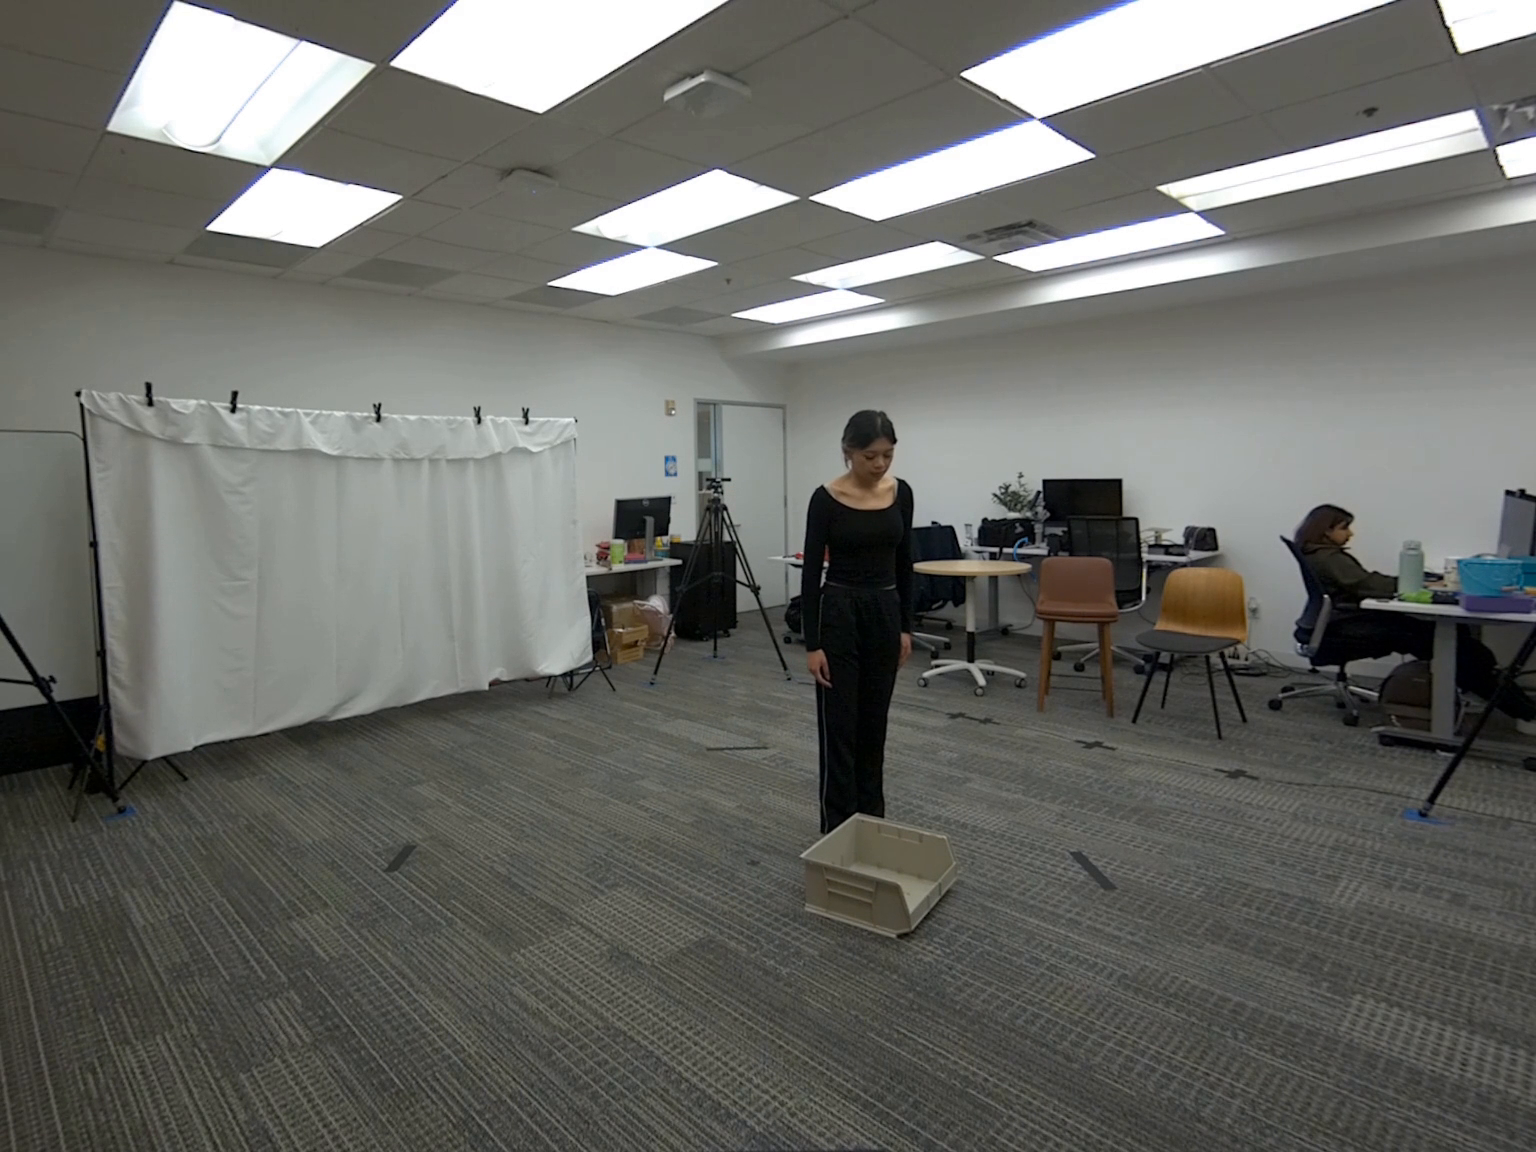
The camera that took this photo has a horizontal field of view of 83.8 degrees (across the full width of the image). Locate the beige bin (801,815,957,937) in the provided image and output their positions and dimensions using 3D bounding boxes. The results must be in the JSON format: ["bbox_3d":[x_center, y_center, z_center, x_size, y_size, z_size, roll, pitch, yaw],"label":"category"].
[{"bbox_3d":[0.375,0.979,2.818,0.388,0.188,0.412,1,6,33],"label":"beige bin"}]
